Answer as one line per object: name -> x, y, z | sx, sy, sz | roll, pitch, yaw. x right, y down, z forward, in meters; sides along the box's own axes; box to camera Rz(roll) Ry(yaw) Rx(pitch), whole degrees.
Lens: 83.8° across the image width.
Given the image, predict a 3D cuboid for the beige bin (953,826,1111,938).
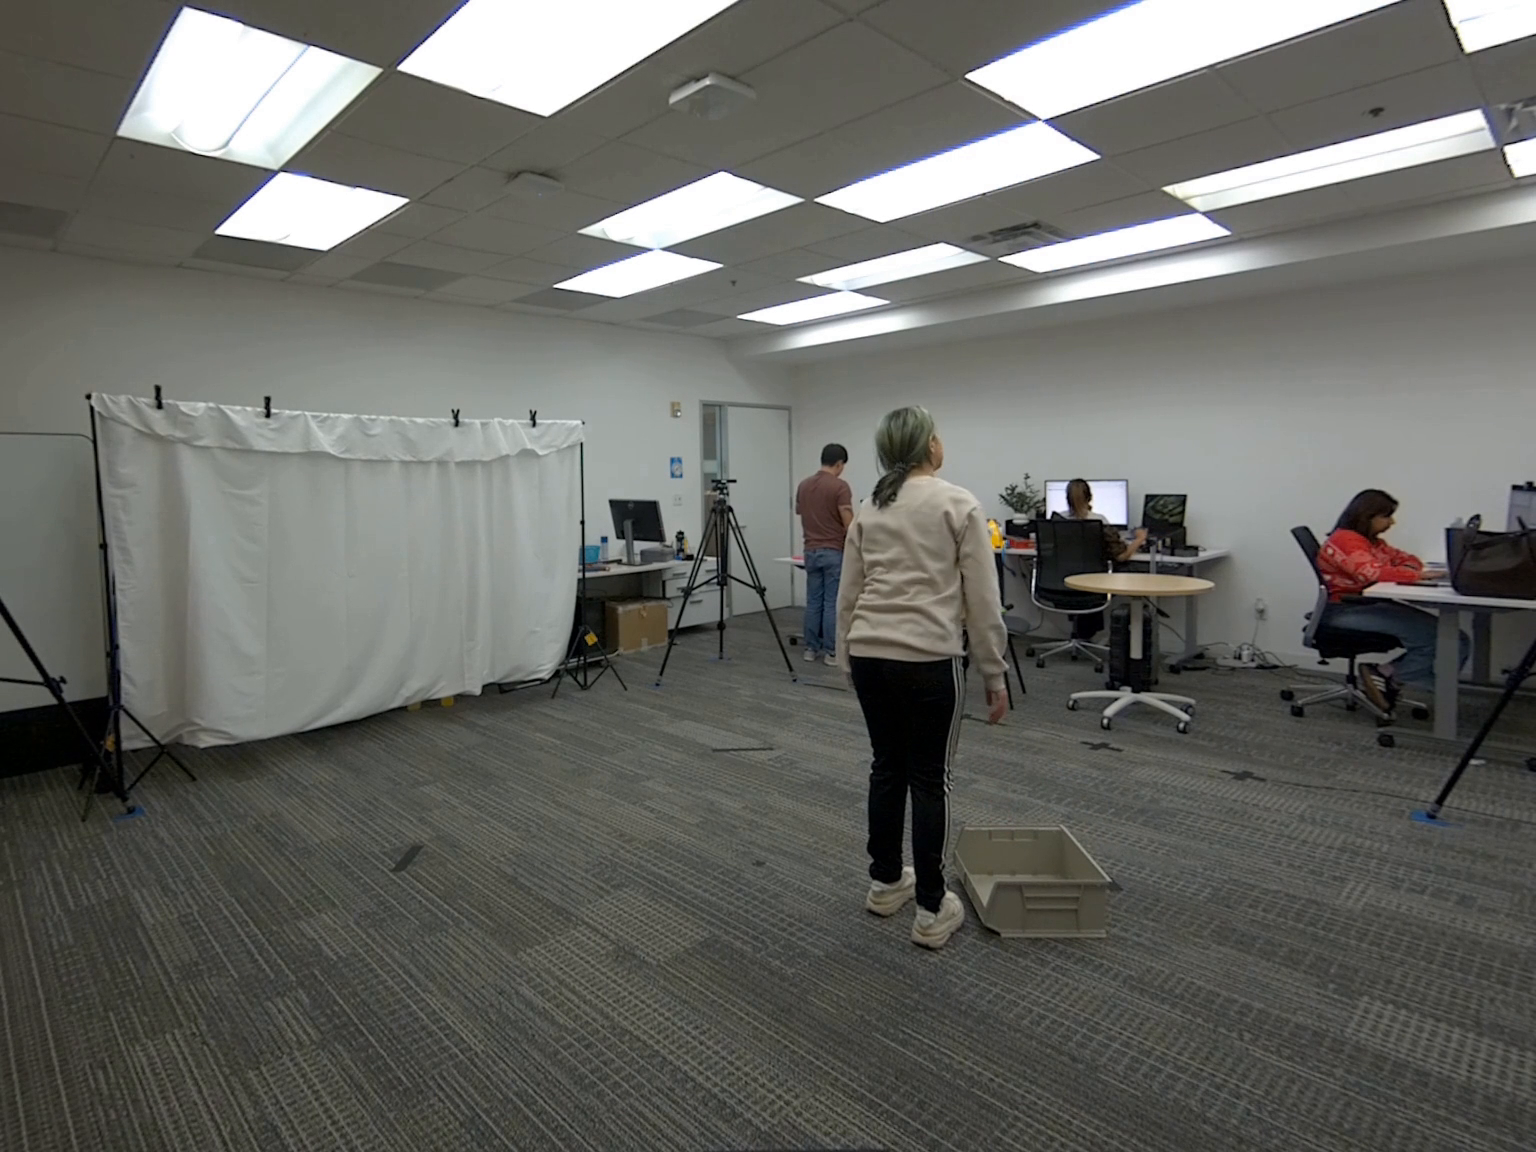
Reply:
beige bin -> 0.837, 0.978, 2.770 | 0.377, 0.188, 0.424 | -1, 6, -1
